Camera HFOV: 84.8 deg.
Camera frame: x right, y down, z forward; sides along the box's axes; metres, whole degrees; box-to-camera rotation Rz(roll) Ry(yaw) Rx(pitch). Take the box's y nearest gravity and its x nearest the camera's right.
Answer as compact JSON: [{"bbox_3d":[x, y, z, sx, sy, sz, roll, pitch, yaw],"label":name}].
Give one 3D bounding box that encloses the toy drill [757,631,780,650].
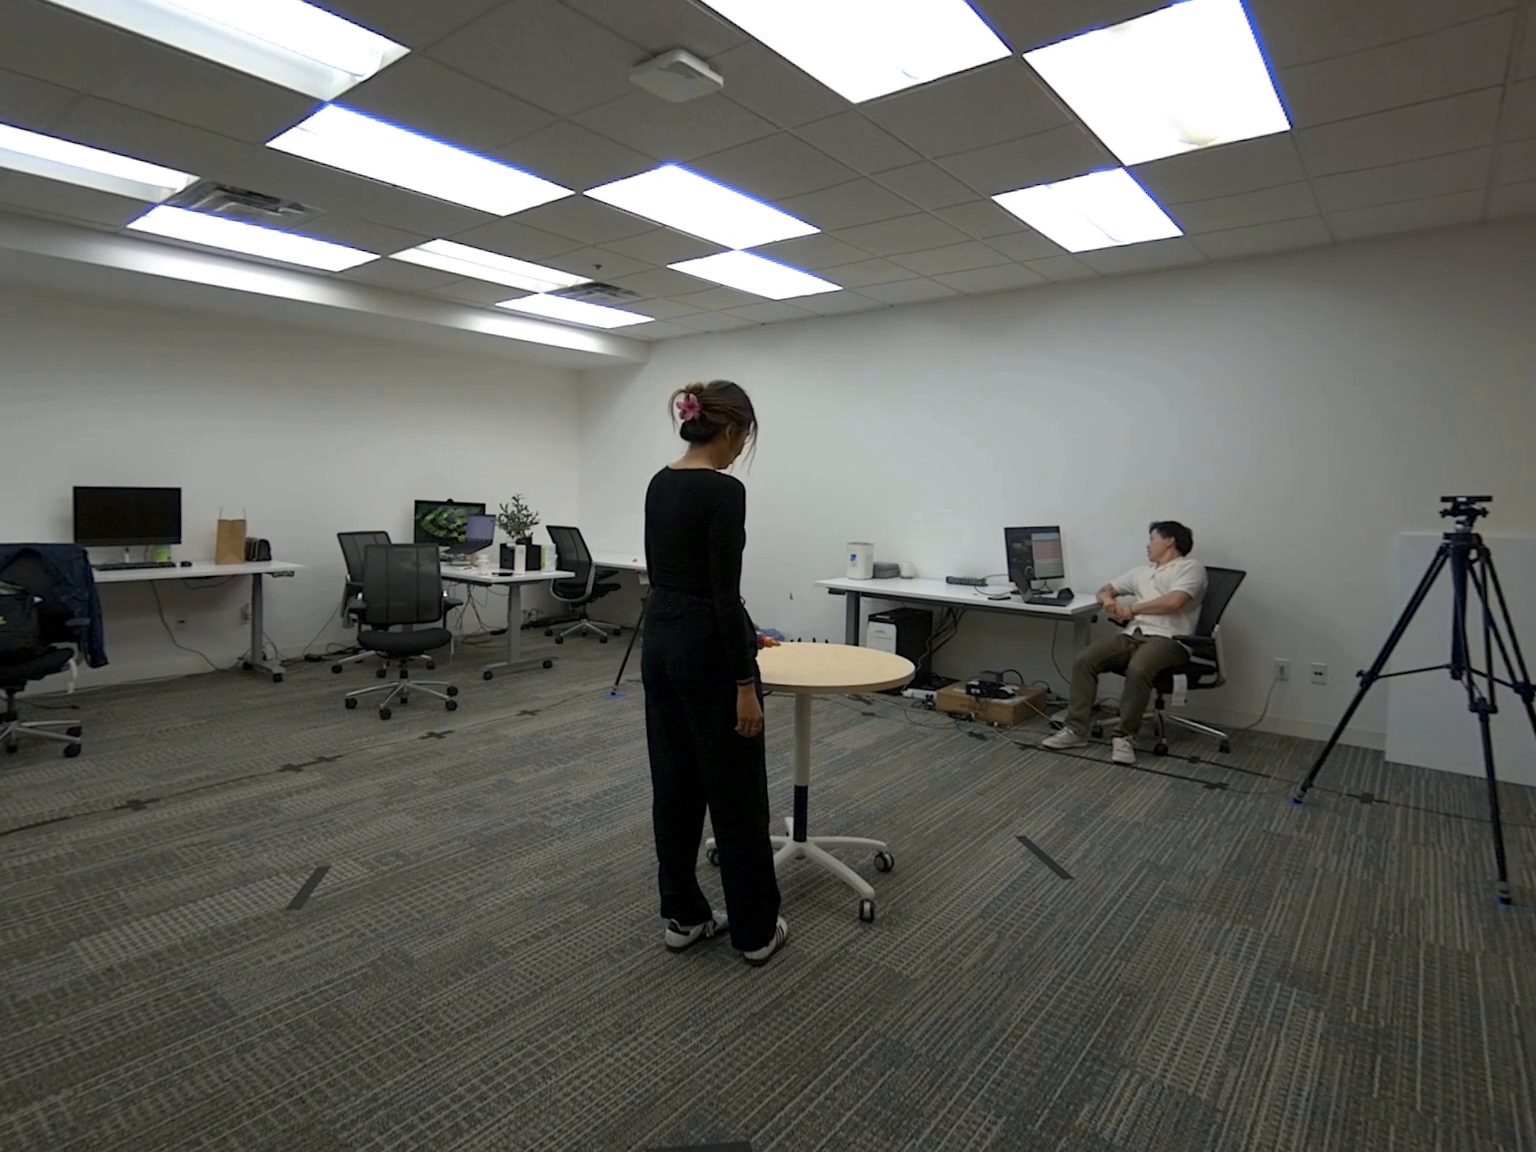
[{"bbox_3d":[-0.036,0.247,2.763,0.175,0.145,0.059,6,4,34],"label":"toy drill"}]
